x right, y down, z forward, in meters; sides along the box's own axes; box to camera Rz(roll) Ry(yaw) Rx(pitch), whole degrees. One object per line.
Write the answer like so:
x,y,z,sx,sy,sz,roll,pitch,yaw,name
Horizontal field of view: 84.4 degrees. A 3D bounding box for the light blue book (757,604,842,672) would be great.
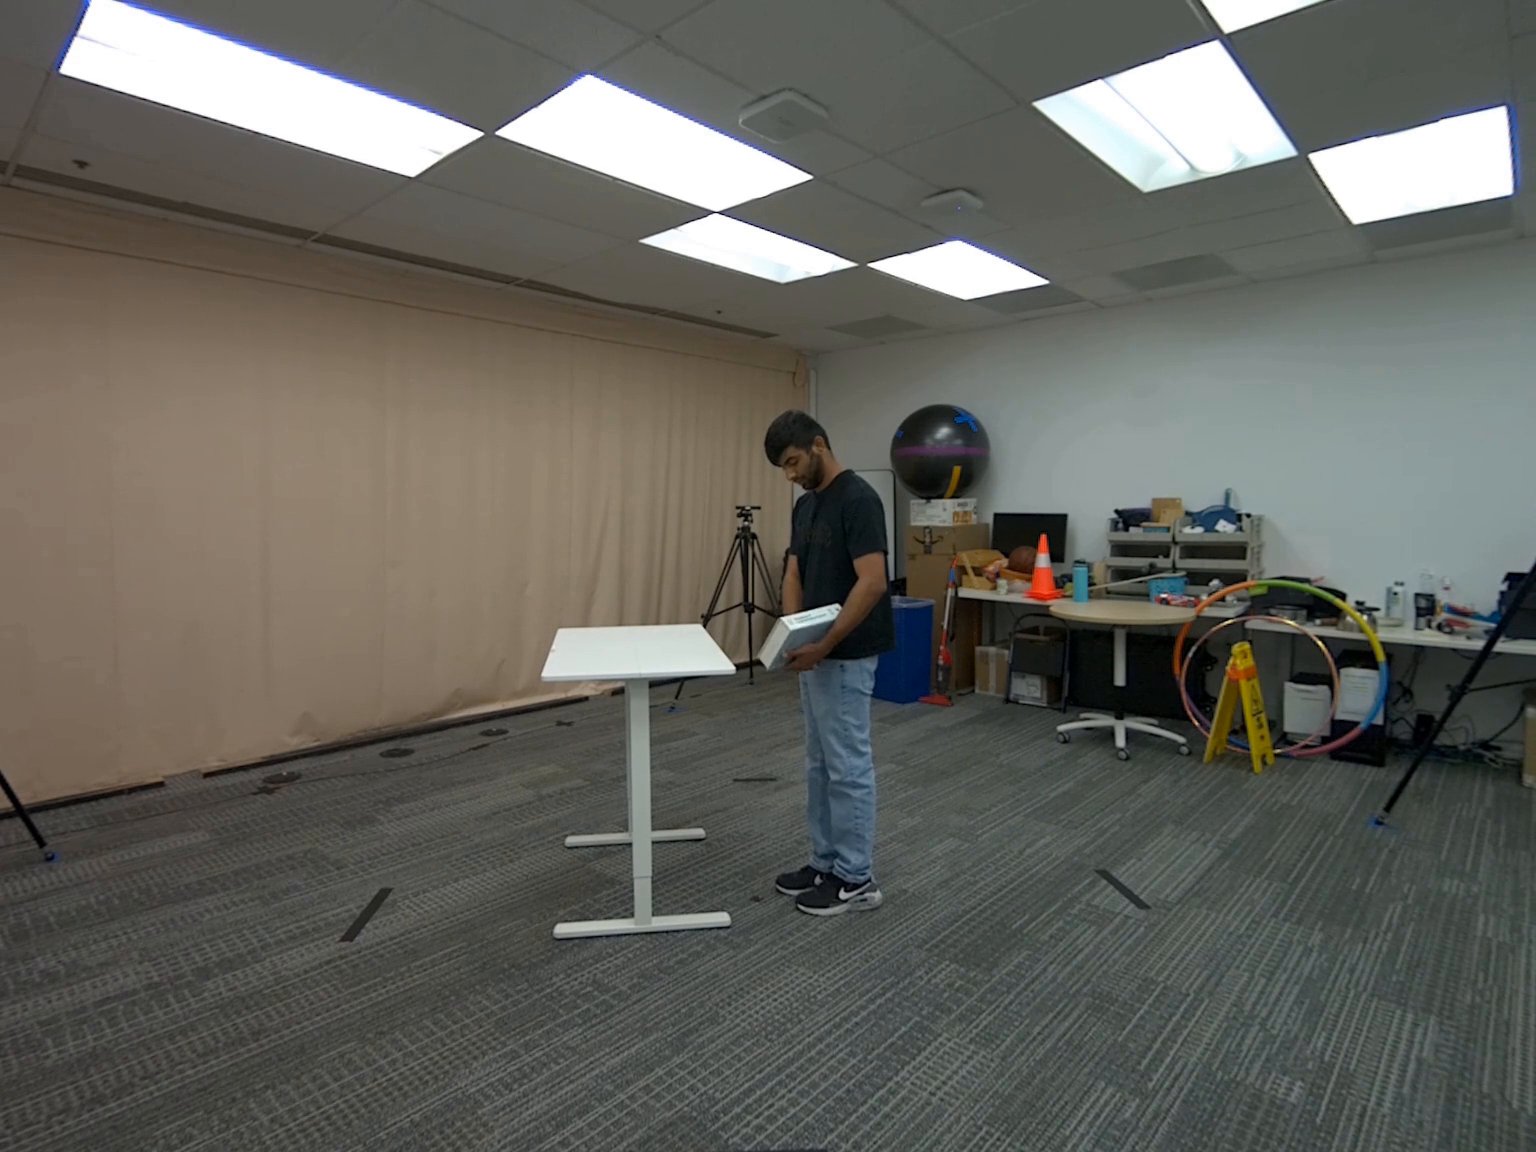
0.111,0.191,2.681,0.254,0.190,0.061,-9,46,-39,light blue book
